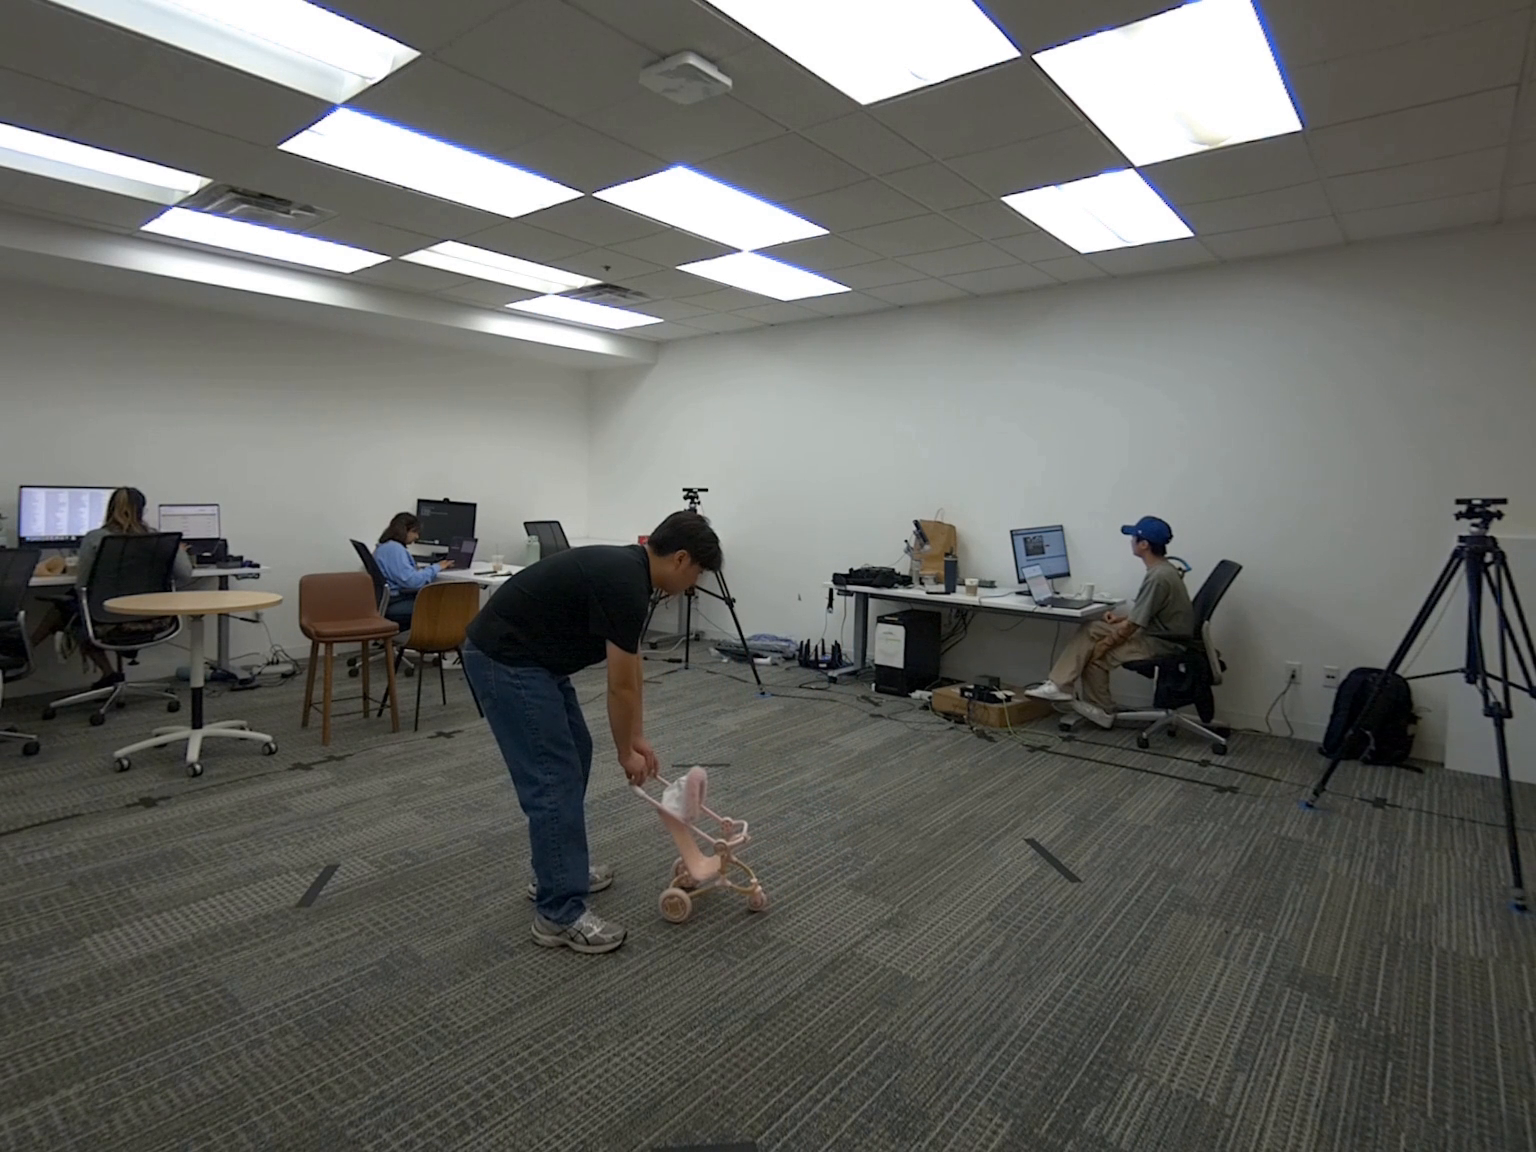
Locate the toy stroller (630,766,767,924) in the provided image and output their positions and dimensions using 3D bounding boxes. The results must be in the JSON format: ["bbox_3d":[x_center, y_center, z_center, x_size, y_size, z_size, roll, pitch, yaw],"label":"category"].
[{"bbox_3d":[-0.228,0.876,2.822,0.344,0.535,0.279,-14,0,11],"label":"toy stroller"}]
